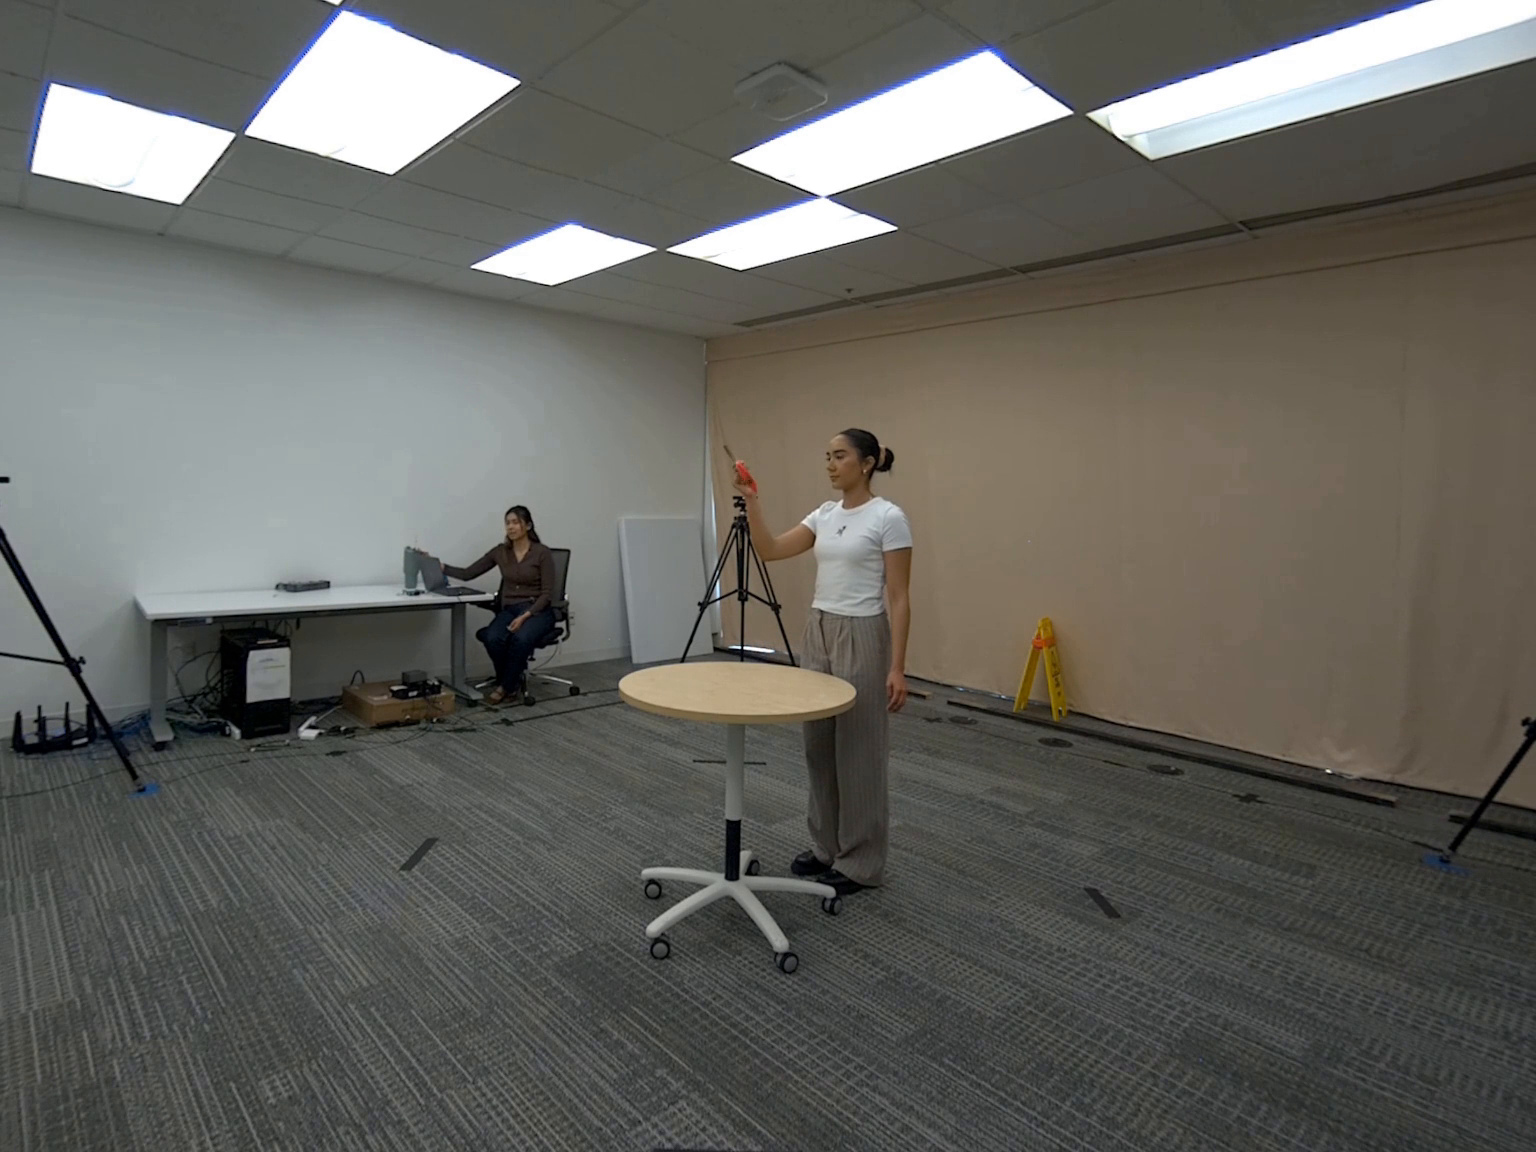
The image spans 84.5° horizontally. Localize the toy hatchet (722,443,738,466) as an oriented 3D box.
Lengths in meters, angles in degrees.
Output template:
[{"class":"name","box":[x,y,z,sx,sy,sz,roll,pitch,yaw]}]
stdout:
[{"class":"toy hatchet","box":[-0.115,-0.402,2.951,0.029,0.278,0.127,-34,-42,8]}]
